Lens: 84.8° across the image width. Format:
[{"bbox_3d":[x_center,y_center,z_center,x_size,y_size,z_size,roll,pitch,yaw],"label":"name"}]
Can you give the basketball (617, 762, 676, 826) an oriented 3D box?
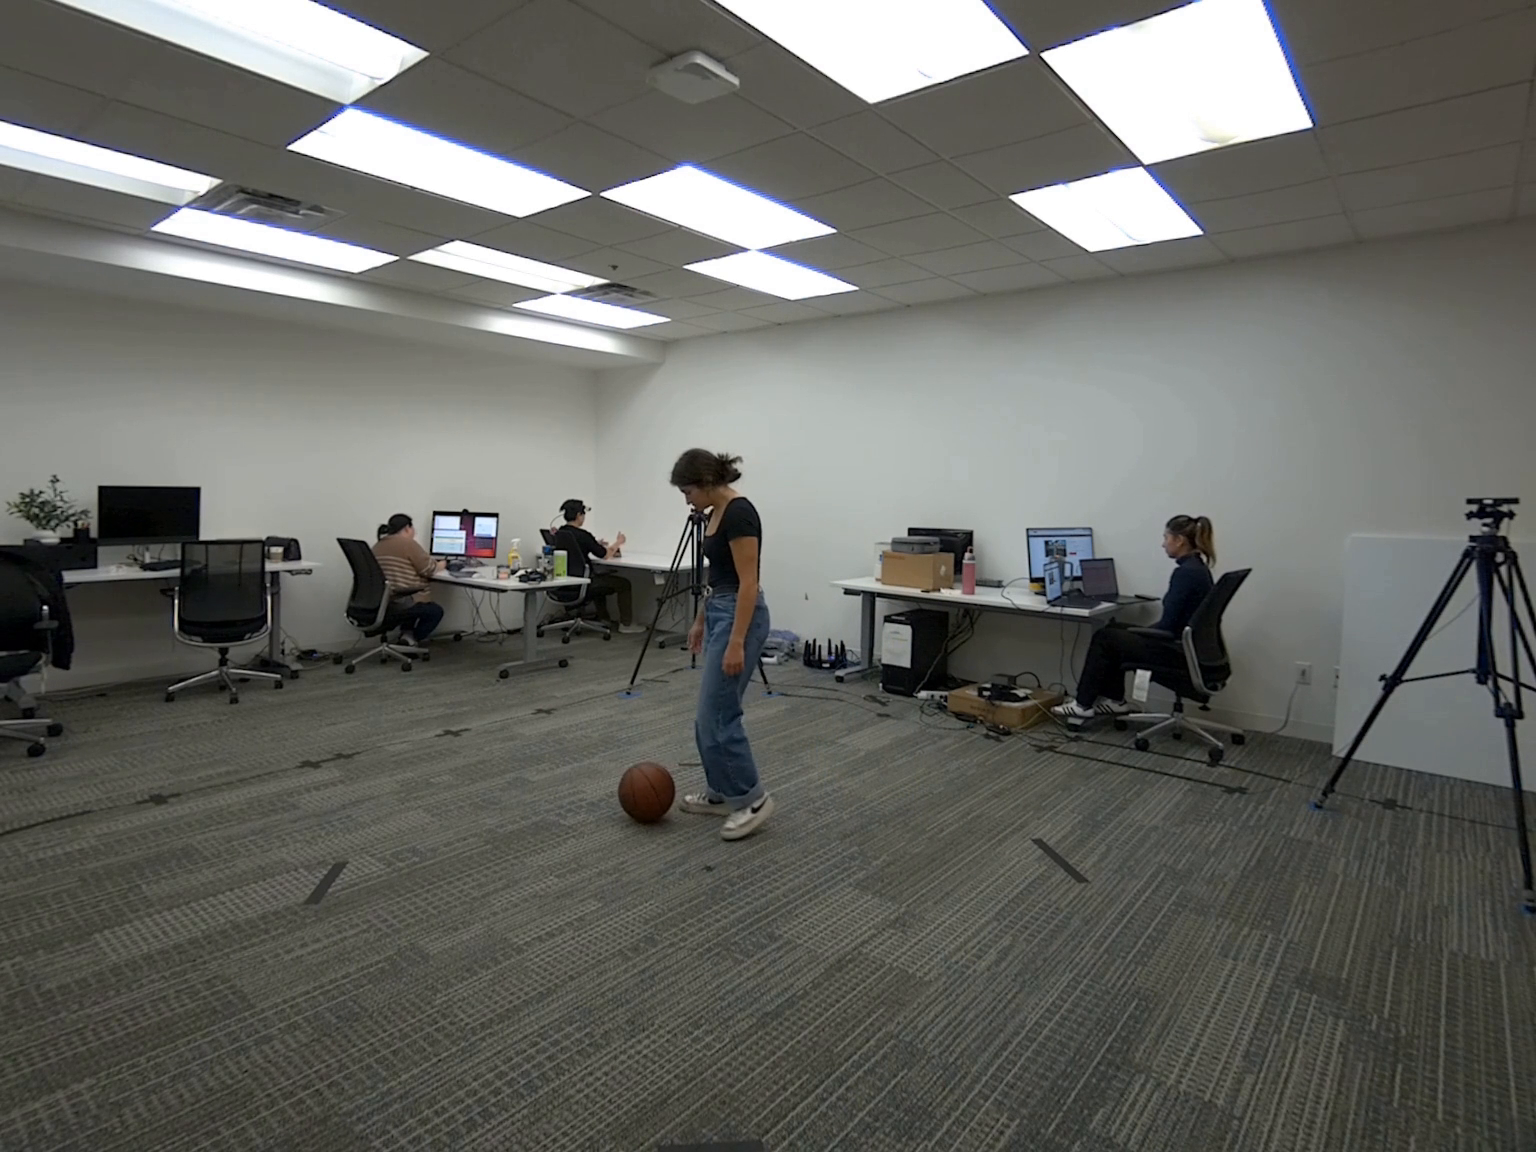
[{"bbox_3d":[-0.515,0.895,3.555,0.235,0.235,0.237,1,4,-2],"label":"basketball"}]
